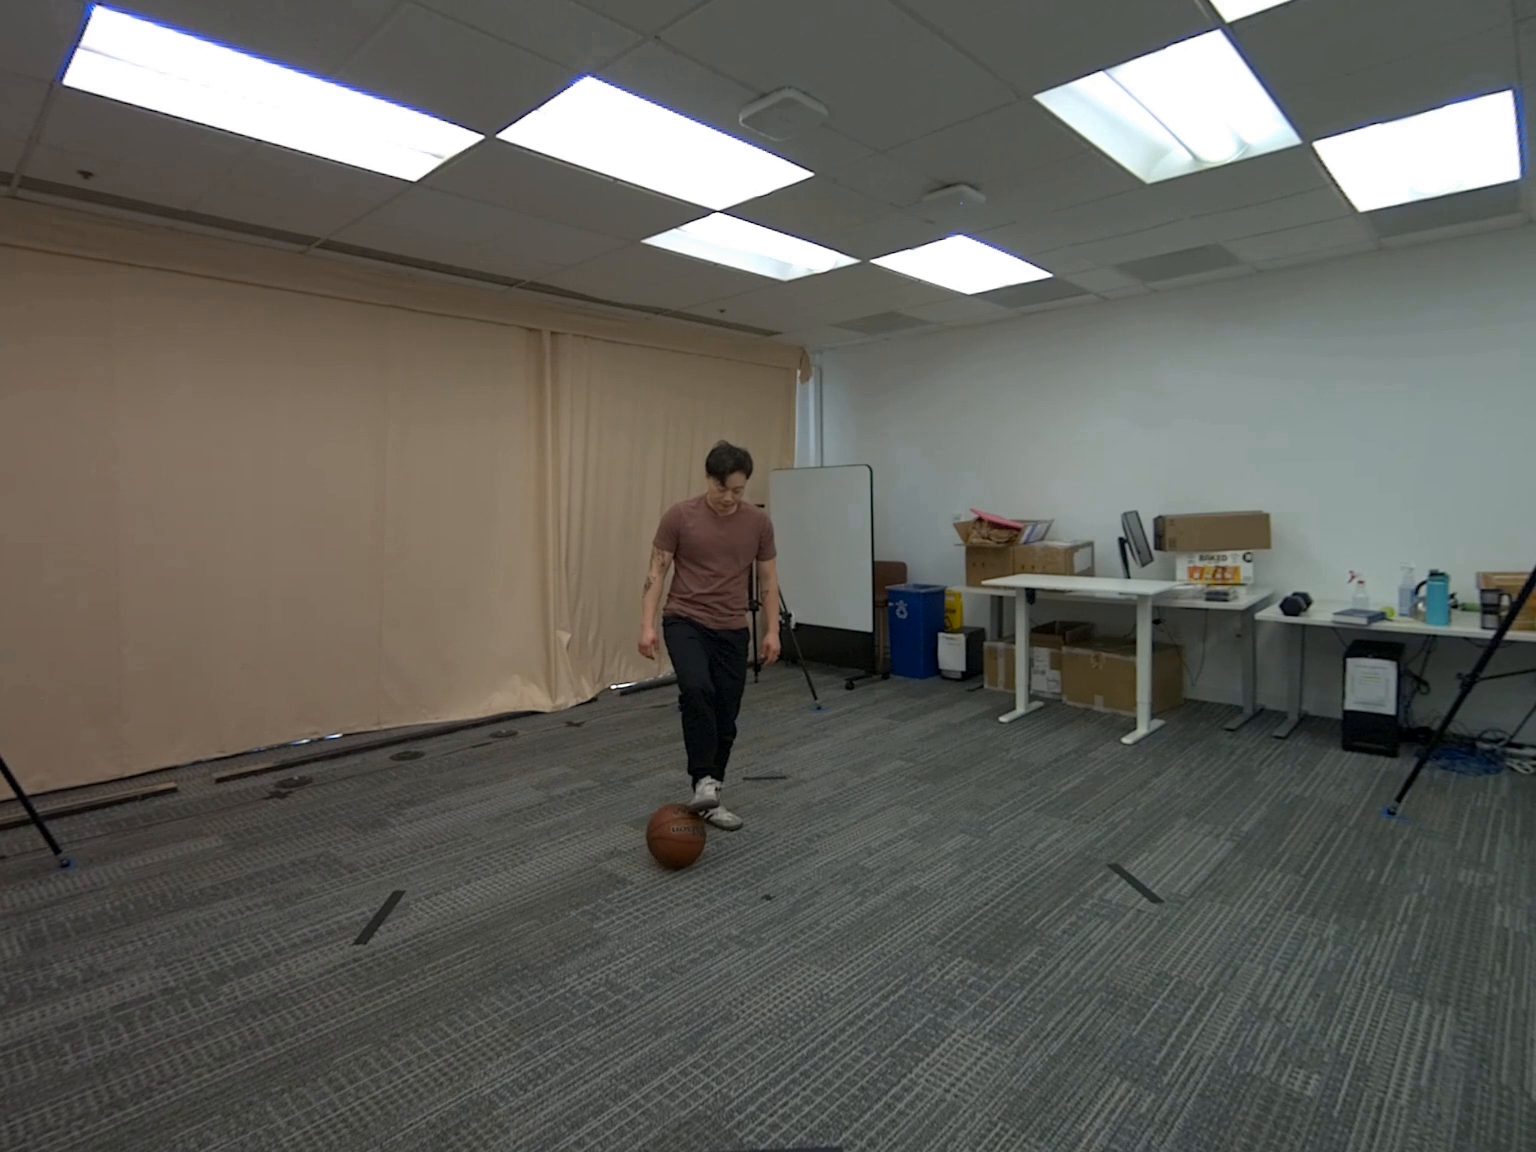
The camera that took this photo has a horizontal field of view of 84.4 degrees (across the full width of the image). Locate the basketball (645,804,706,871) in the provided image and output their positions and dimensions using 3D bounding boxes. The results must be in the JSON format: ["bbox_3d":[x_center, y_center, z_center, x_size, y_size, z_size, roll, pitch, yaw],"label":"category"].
[{"bbox_3d":[-0.363,1.007,3.268,0.236,0.235,0.237,-1,4,-2],"label":"basketball"}]
